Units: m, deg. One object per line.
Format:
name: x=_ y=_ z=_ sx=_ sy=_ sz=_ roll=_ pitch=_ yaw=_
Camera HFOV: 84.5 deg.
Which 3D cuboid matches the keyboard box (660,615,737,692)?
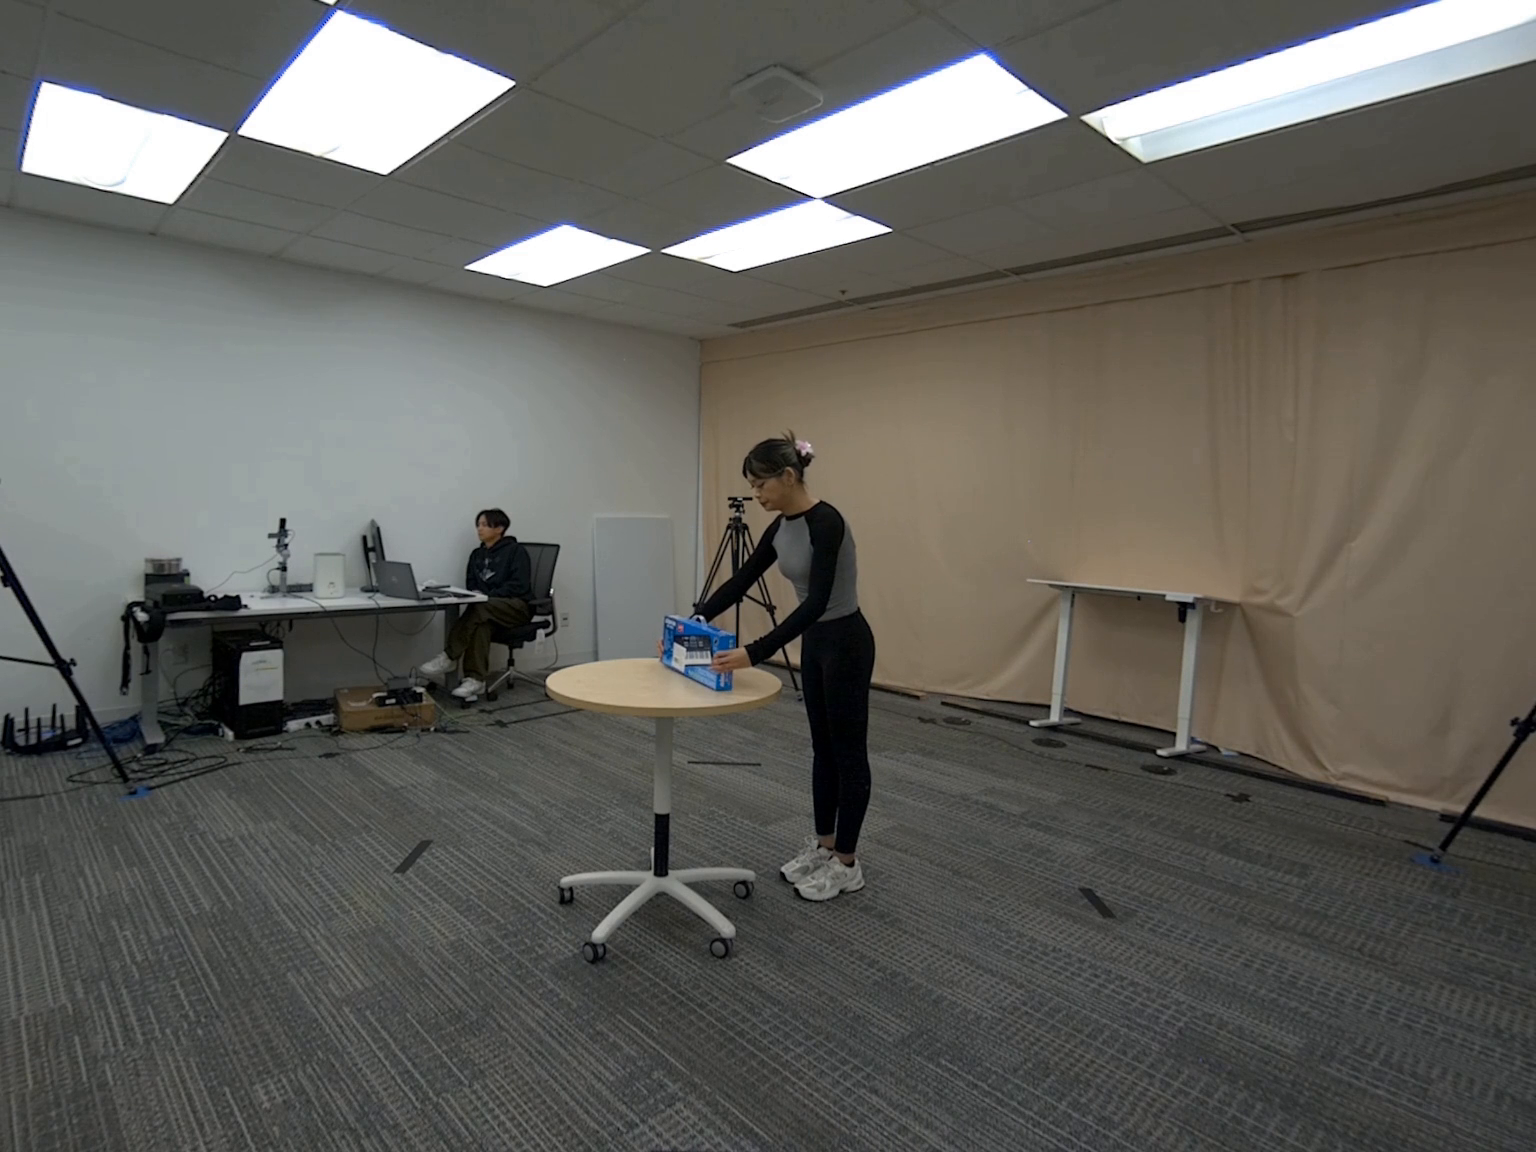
keyboard box: x=-0.246 y=0.249 z=2.808 sx=0.058 sy=0.176 sz=0.447 roll=5 pitch=3 yaw=-30
